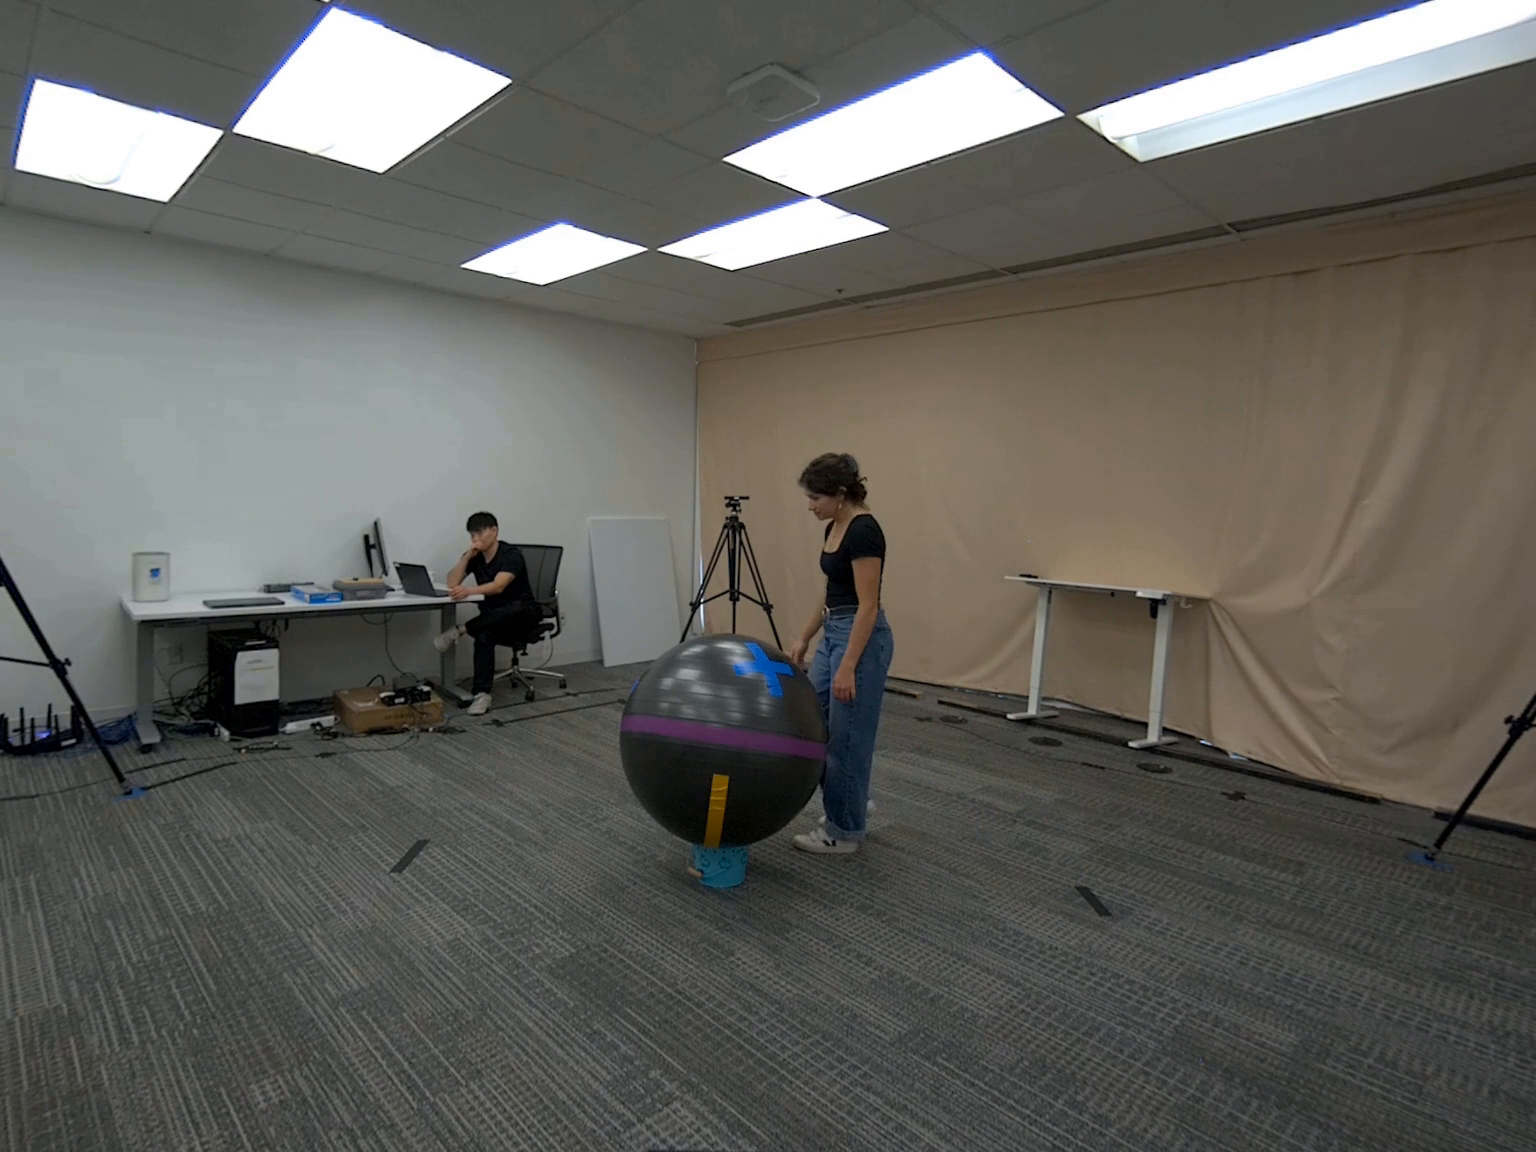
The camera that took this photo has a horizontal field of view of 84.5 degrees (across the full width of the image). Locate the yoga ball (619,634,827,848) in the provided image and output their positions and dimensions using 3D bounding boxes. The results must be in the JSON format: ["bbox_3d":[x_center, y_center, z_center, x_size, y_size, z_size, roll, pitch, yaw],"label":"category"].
[{"bbox_3d":[-0.168,0.597,3.079,0.757,0.756,0.761,1,4,-1],"label":"yoga ball"}]
